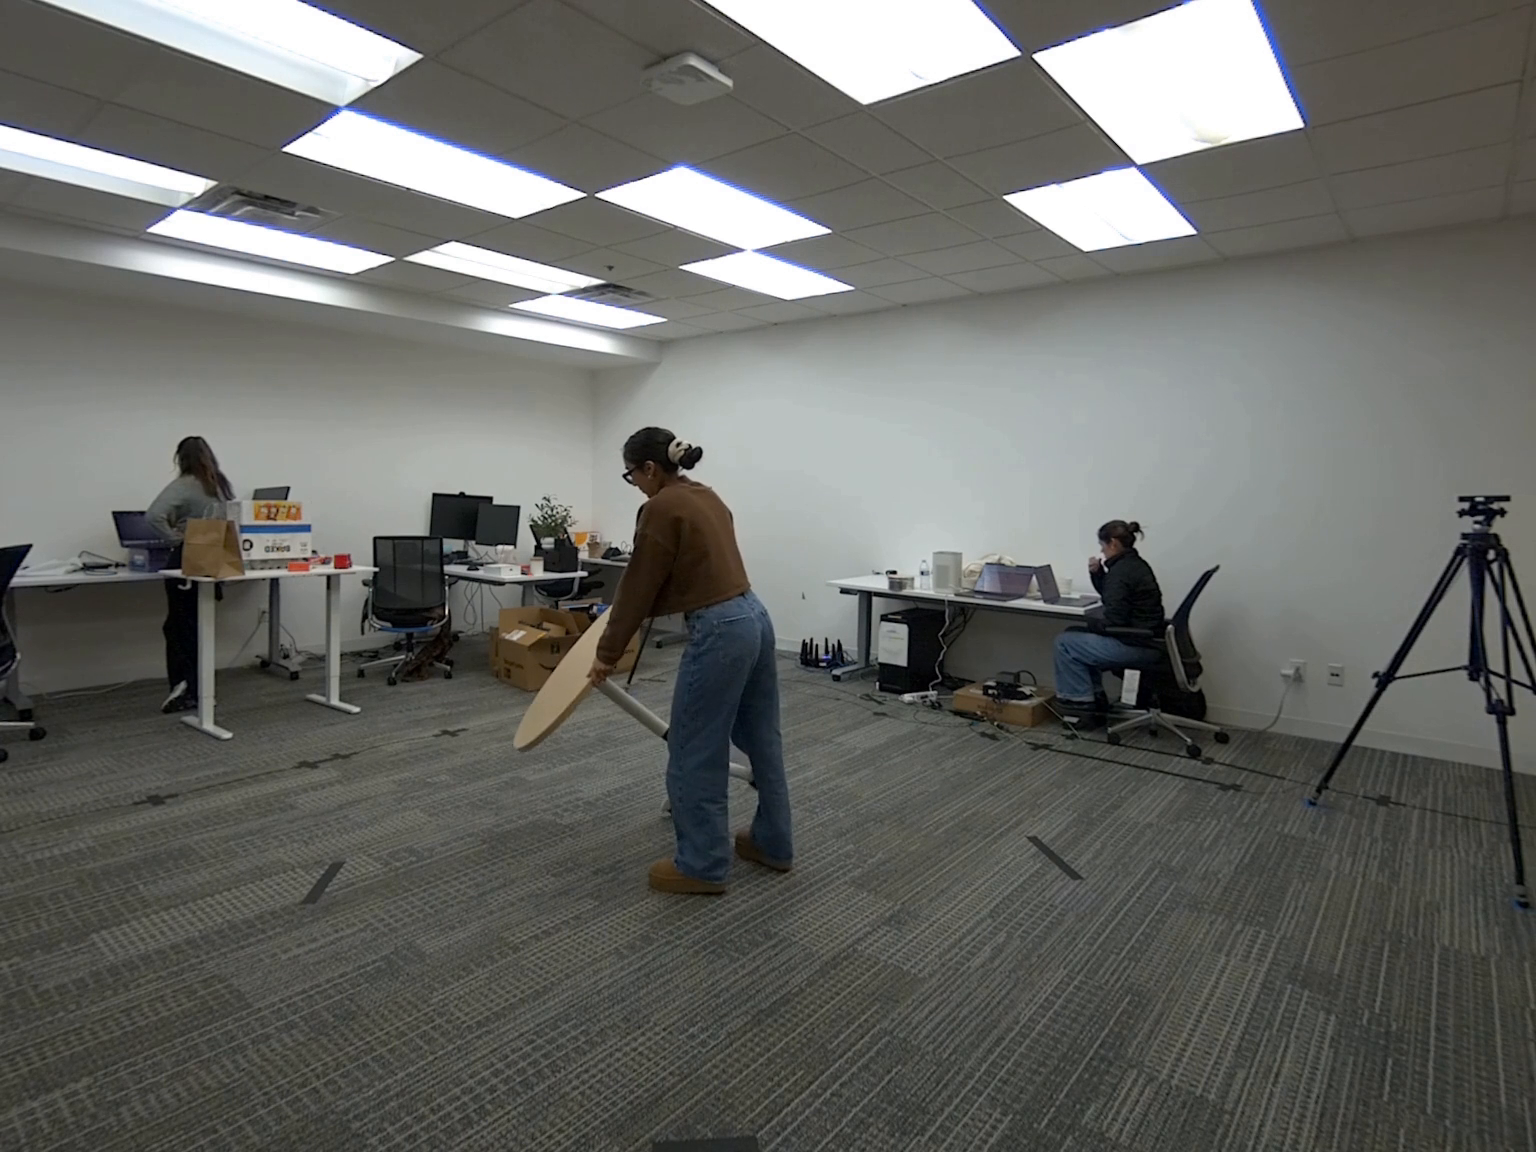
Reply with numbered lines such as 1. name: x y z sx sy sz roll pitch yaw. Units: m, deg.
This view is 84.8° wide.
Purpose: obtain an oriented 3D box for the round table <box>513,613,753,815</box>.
1. round table: -0.454 0.582 3.364 0.781 0.764 0.777 40 -6 -13
